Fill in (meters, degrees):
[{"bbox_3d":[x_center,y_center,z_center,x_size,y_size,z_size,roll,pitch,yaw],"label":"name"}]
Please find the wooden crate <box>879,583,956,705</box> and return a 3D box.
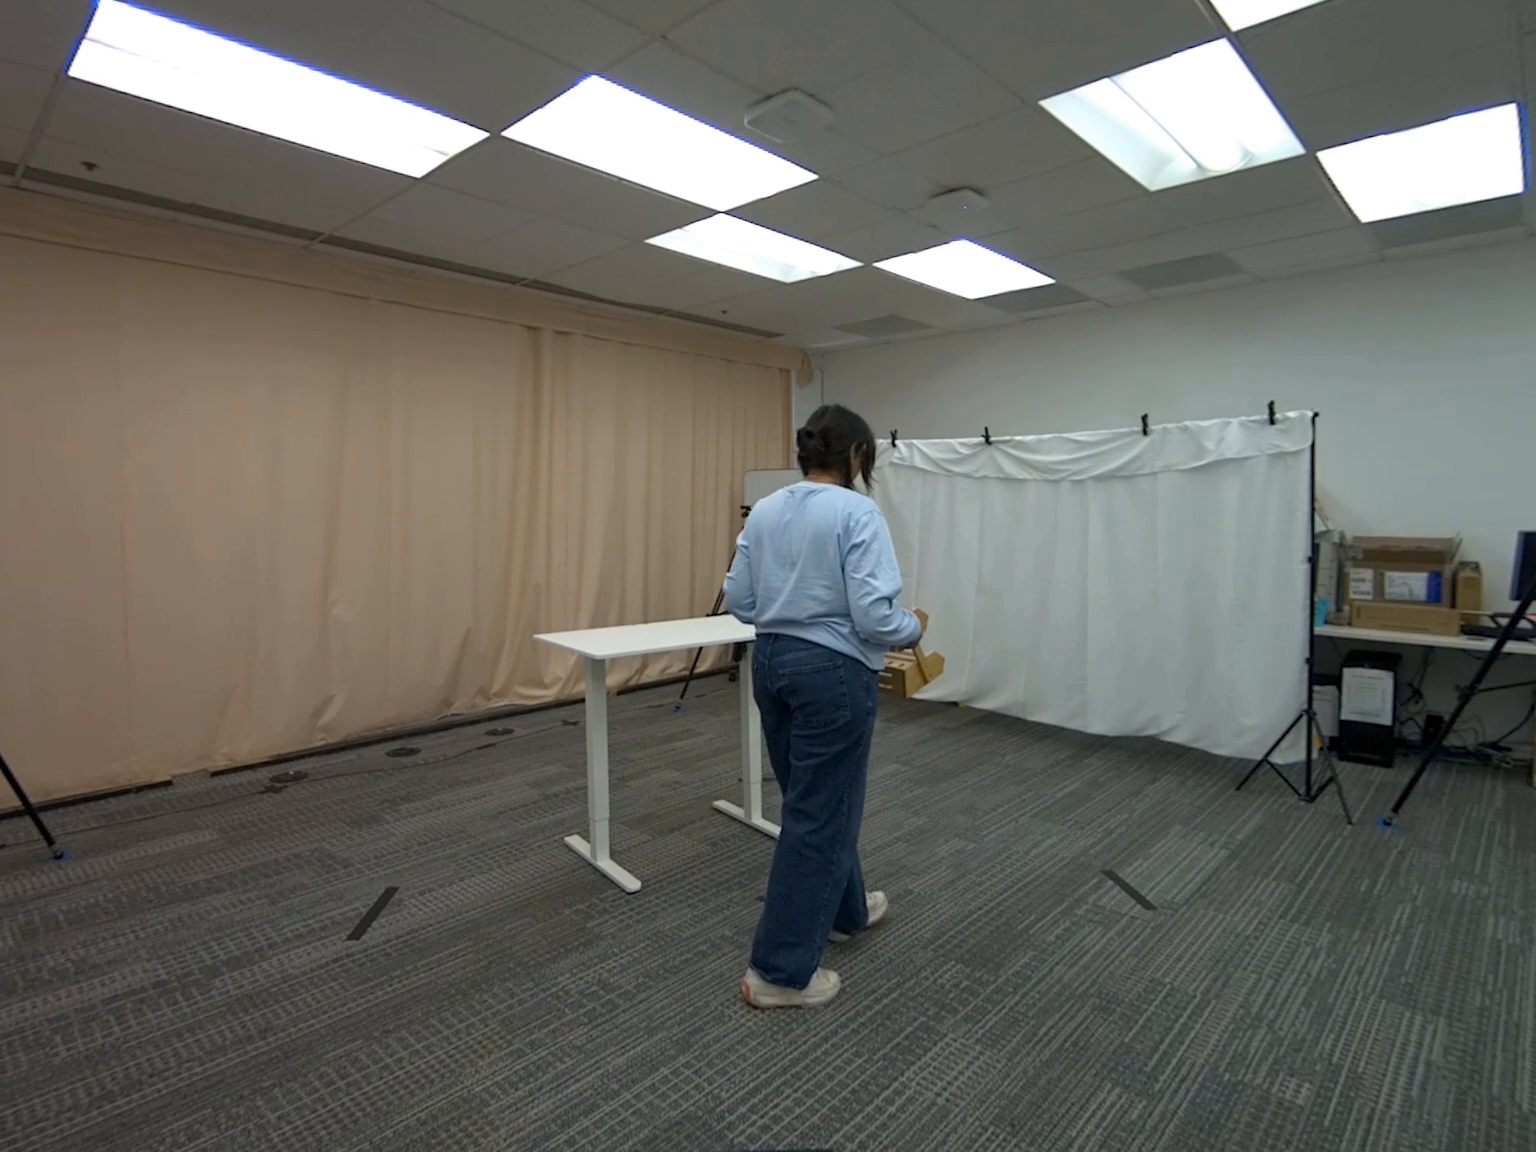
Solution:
[{"bbox_3d":[0.362,0.194,2.671,0.335,0.271,0.295,4,17,40],"label":"wooden crate"}]
